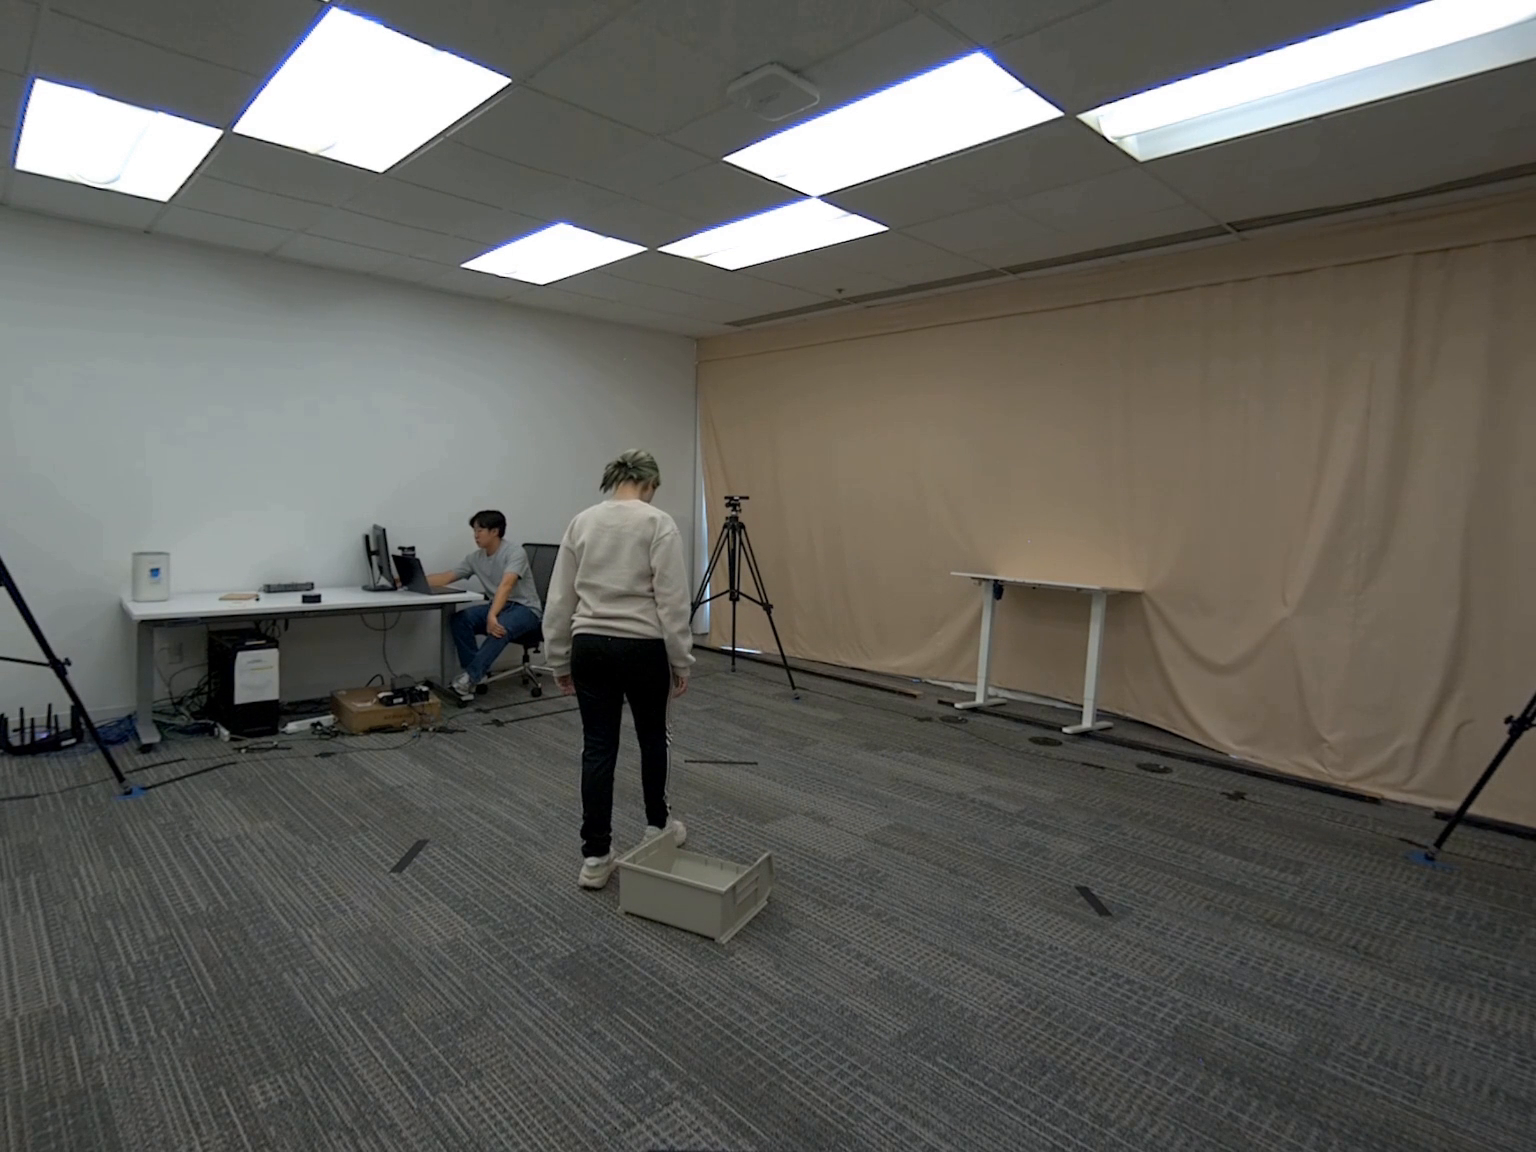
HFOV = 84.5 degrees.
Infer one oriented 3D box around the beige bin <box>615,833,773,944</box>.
[{"bbox_3d":[-0.250,1.035,2.861,0.431,0.188,0.371,4,6,27],"label":"beige bin"}]
